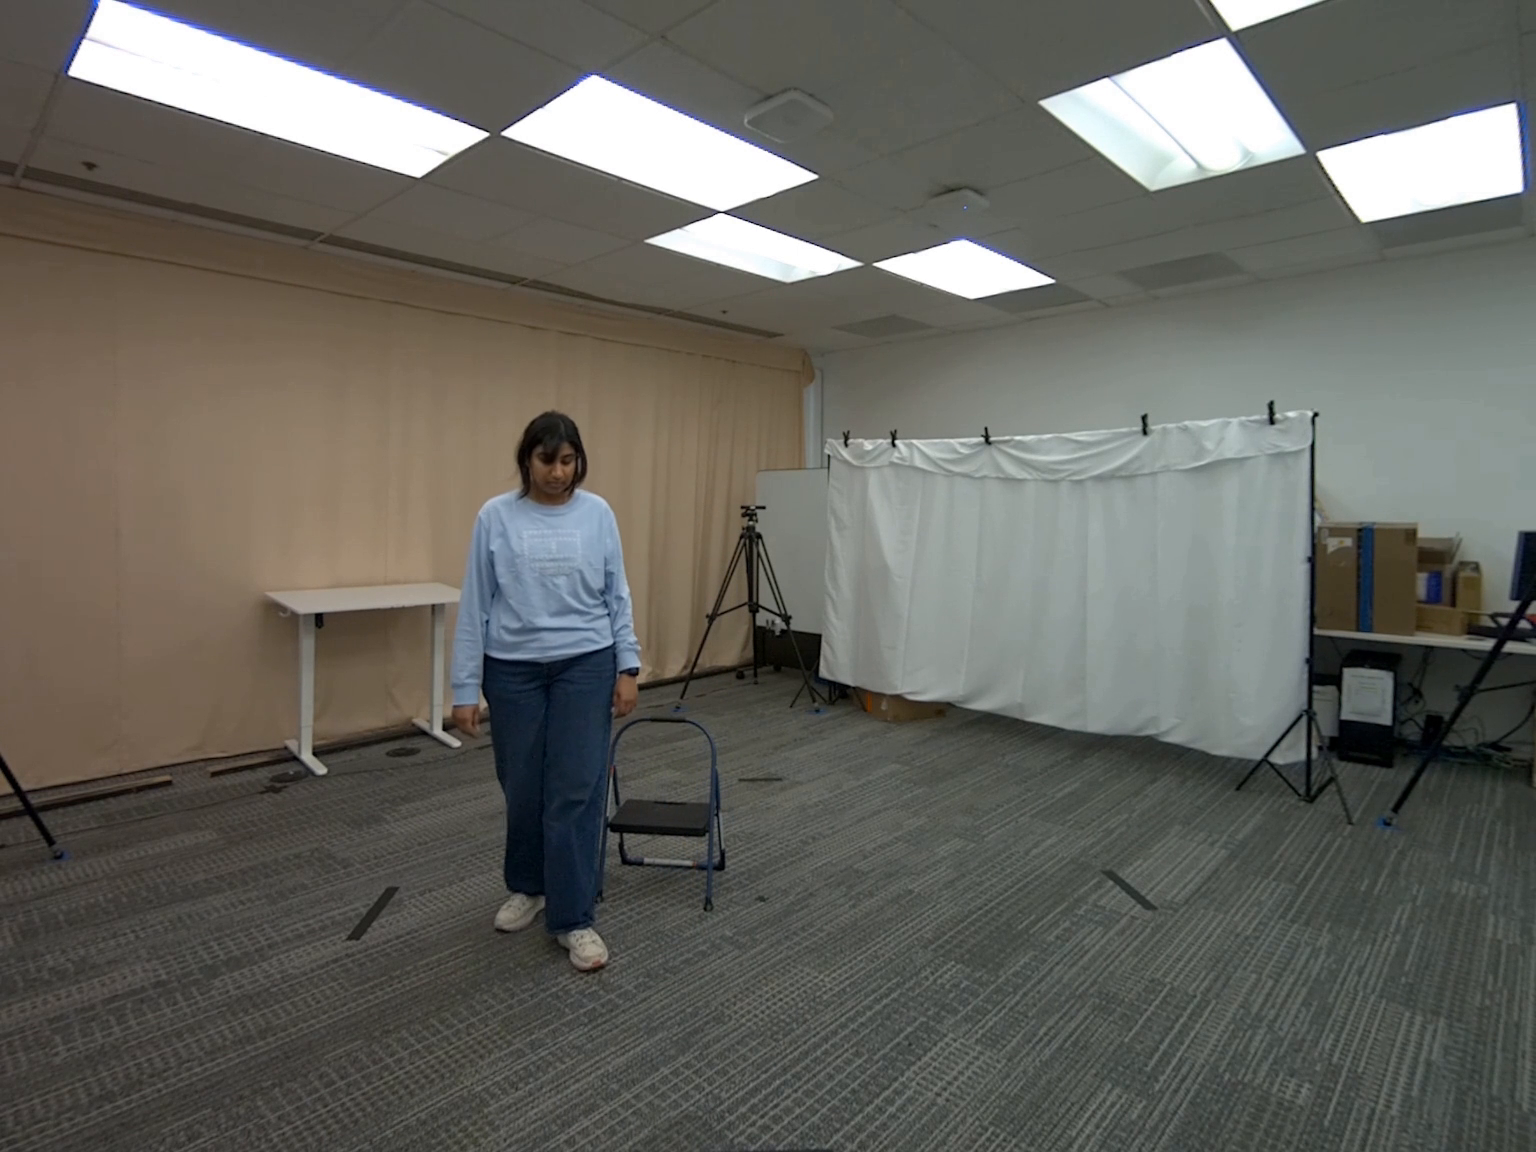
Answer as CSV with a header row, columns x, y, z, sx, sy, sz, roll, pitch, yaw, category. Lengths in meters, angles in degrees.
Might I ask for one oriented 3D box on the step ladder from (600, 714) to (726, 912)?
x,y,z,sx,sy,sz,roll,pitch,yaw,category
-0.386,0.835,3.091,0.435,0.605,0.346,0,3,9,step ladder
